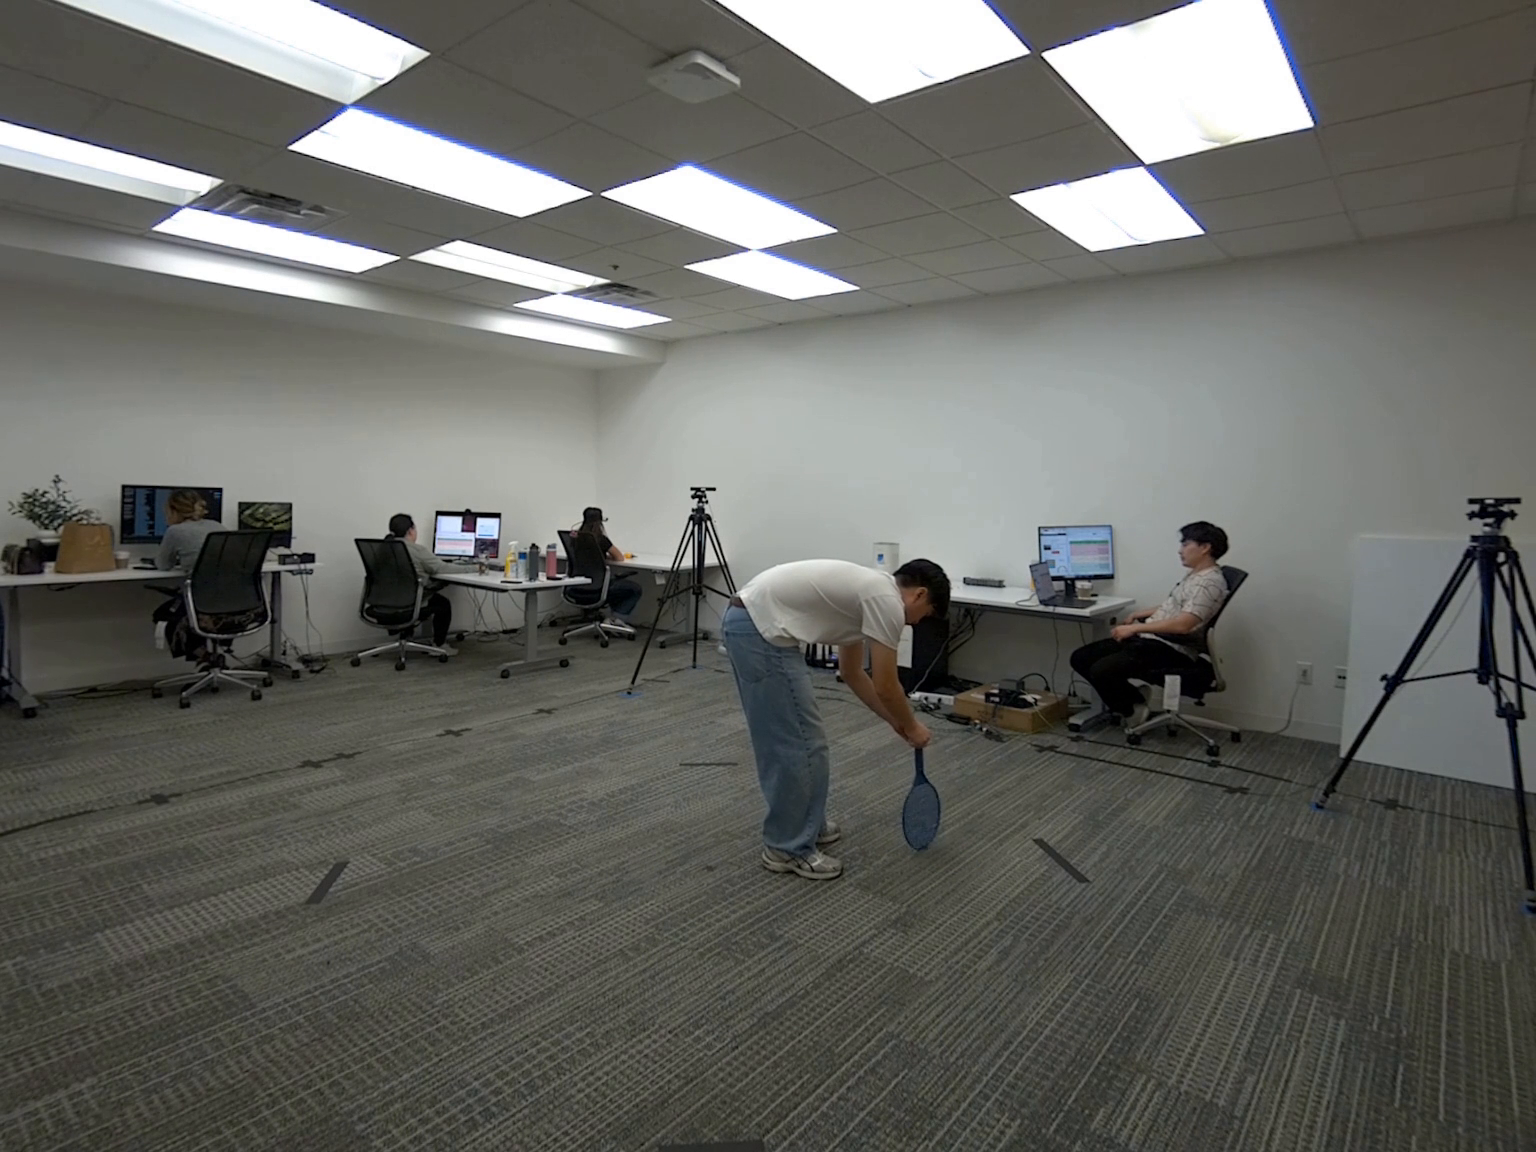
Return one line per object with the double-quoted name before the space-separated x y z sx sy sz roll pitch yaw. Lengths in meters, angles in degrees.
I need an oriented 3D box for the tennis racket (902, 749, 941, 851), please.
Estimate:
"tennis racket" 0.589 0.849 3.314 0.209 0.431 0.032 -5 3 -26
